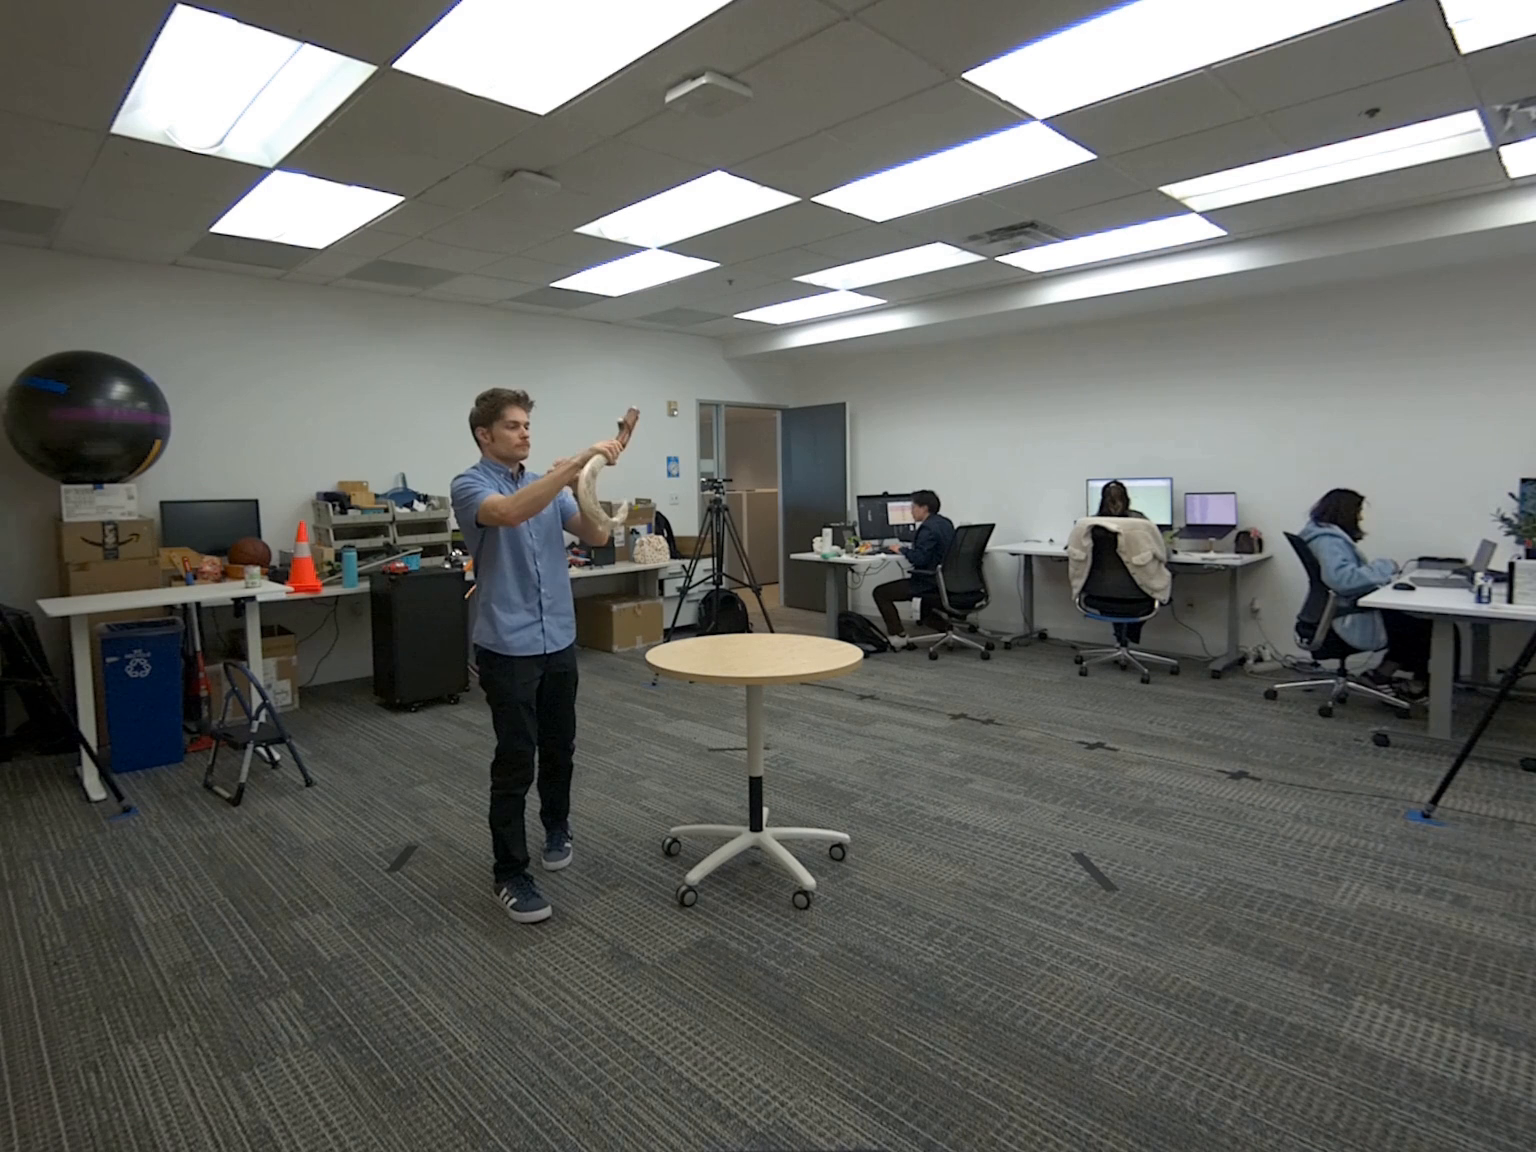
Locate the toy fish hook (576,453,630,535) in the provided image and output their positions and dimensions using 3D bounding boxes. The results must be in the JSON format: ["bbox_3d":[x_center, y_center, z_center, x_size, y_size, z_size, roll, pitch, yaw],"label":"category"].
[{"bbox_3d":[-0.479,-0.338,2.669,0.049,0.217,0.516,-6,42,19],"label":"toy fish hook"}]
